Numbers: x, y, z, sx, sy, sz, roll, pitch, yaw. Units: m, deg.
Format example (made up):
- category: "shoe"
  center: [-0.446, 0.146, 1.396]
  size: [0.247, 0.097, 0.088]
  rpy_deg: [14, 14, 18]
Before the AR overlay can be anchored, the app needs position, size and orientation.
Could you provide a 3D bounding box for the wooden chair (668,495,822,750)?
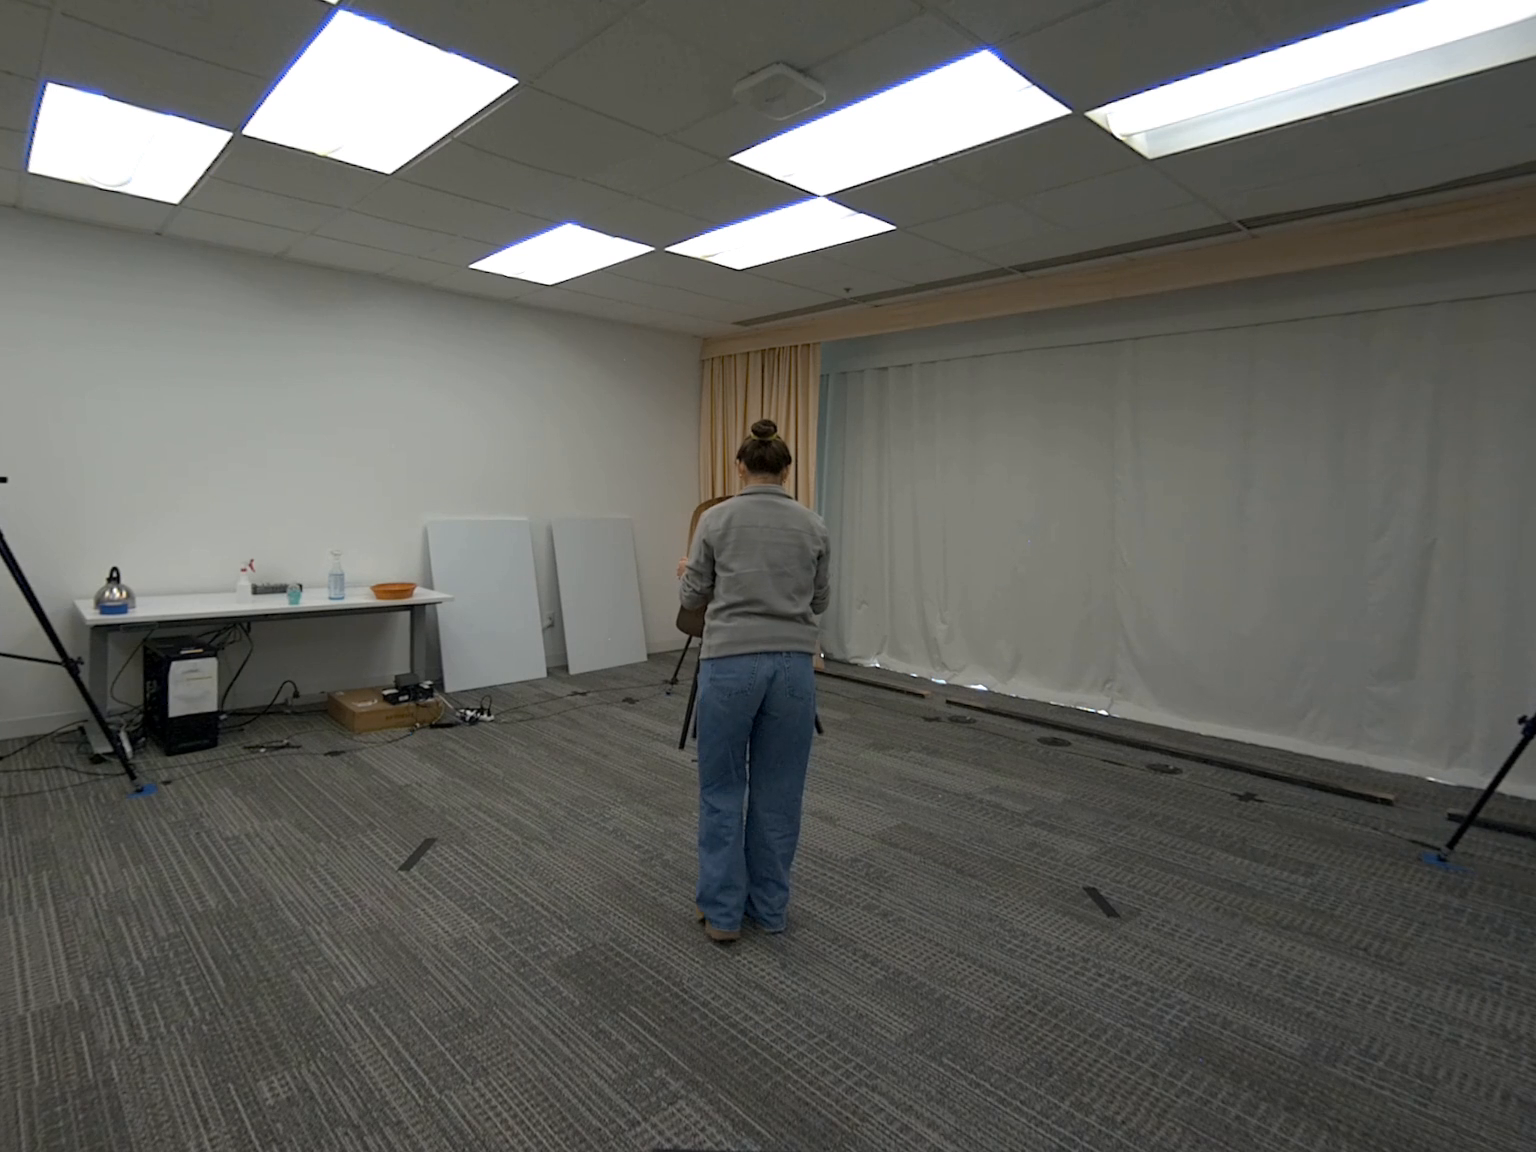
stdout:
- category: "wooden chair"
  center: [-0.116, 0.201, 3.148]
  size: [0.474, 0.886, 0.522]
  rpy_deg: [-1, -13, -10]
